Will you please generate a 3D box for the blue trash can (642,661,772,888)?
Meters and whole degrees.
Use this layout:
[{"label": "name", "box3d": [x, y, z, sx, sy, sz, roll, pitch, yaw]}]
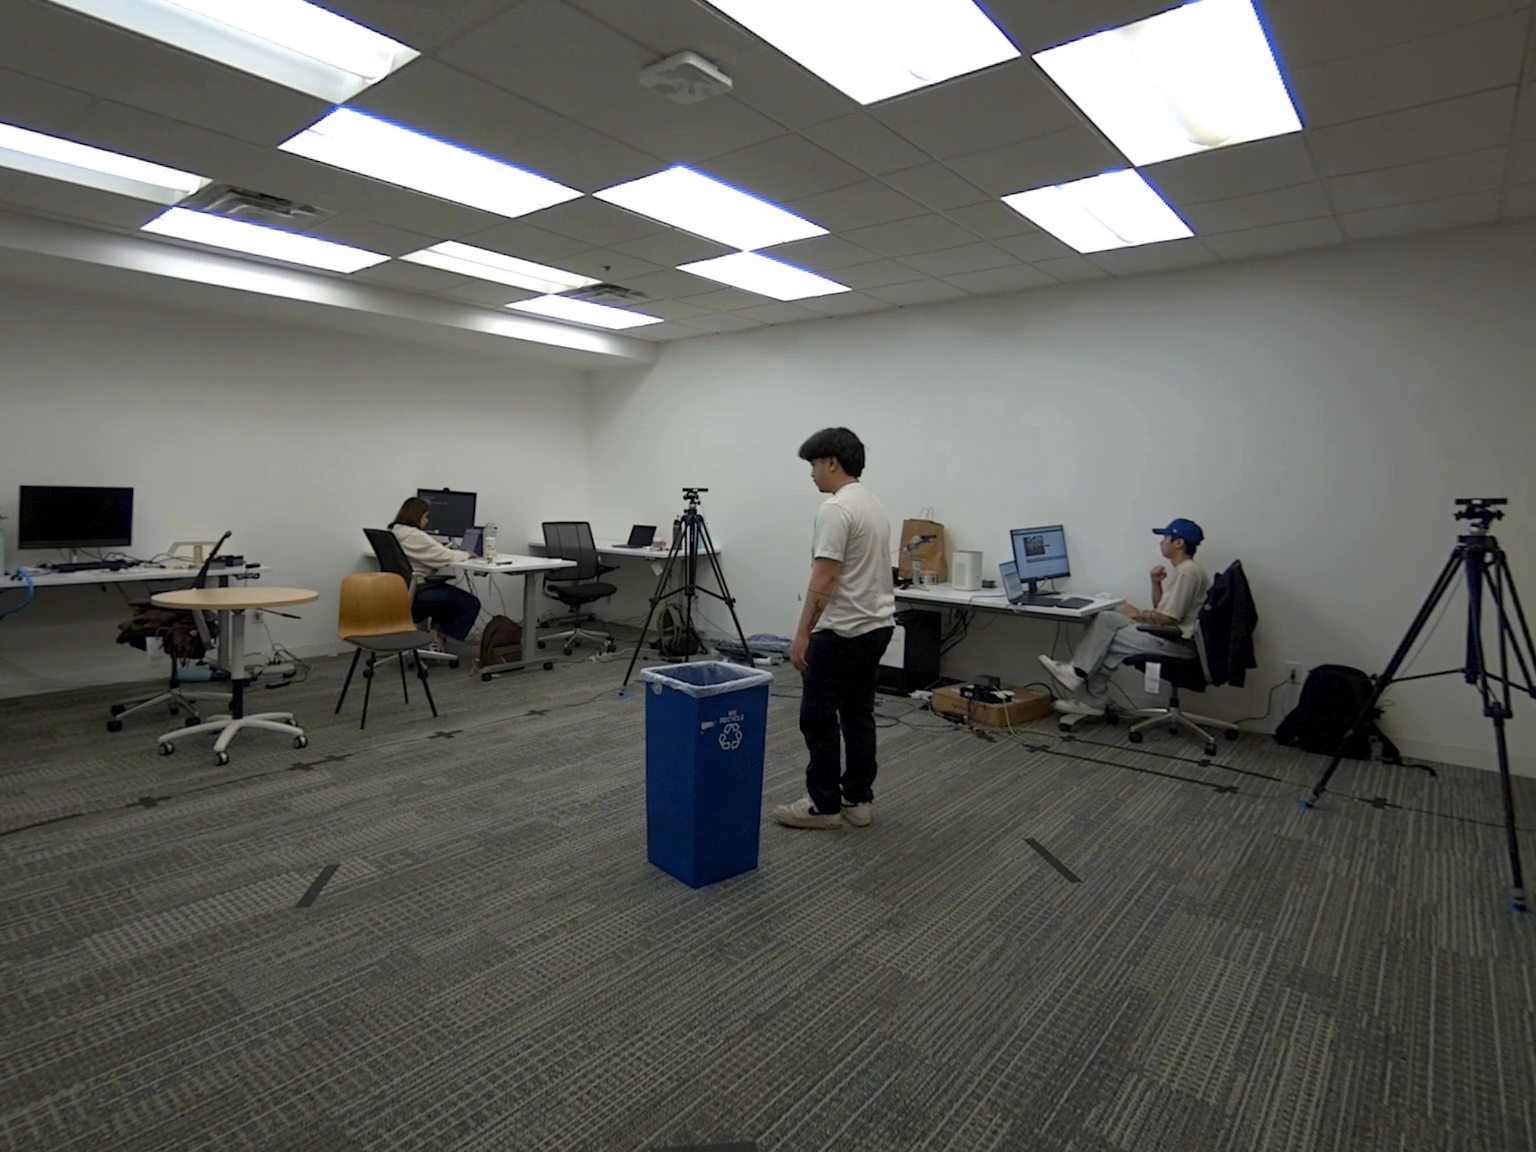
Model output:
[{"label": "blue trash can", "box3d": [-0.241, 0.707, 3.145, 0.363, 0.711, 0.391, -2, 5, -41]}]
